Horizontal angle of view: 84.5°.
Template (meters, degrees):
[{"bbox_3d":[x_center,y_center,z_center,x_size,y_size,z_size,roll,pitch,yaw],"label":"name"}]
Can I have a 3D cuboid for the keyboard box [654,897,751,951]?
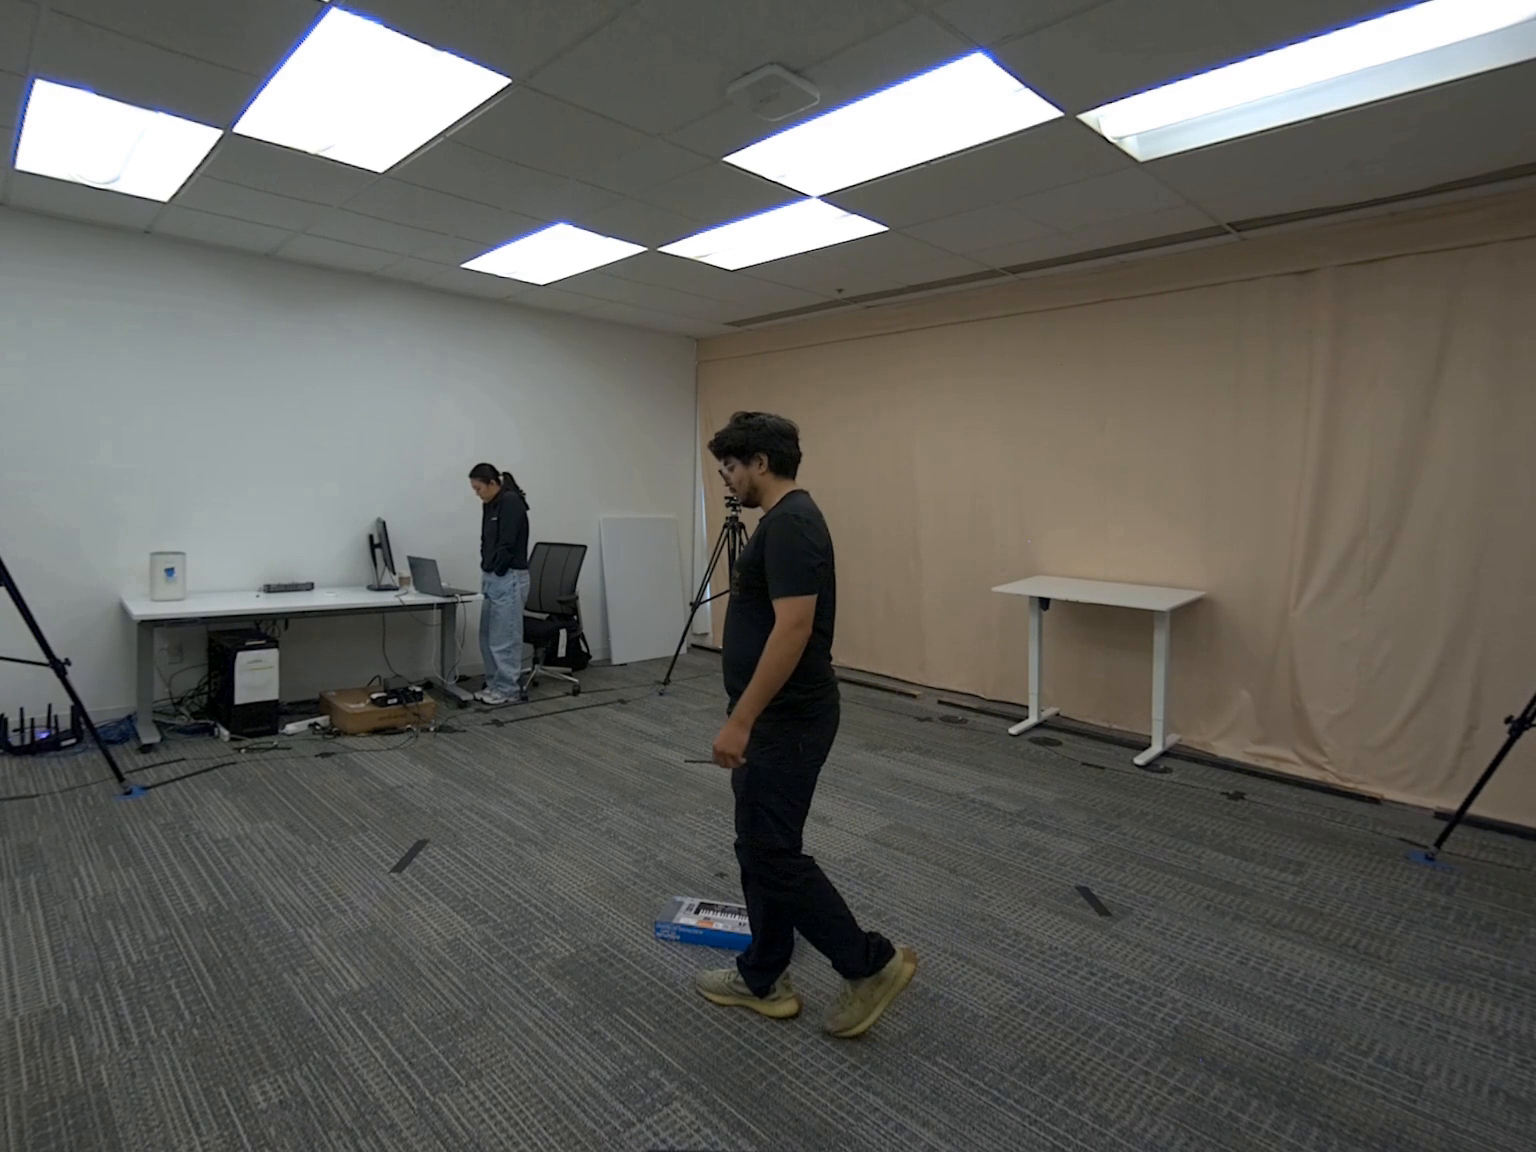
[{"bbox_3d":[-0.131,1.115,2.674,0.442,0.059,0.174,2,6,13],"label":"keyboard box"}]
